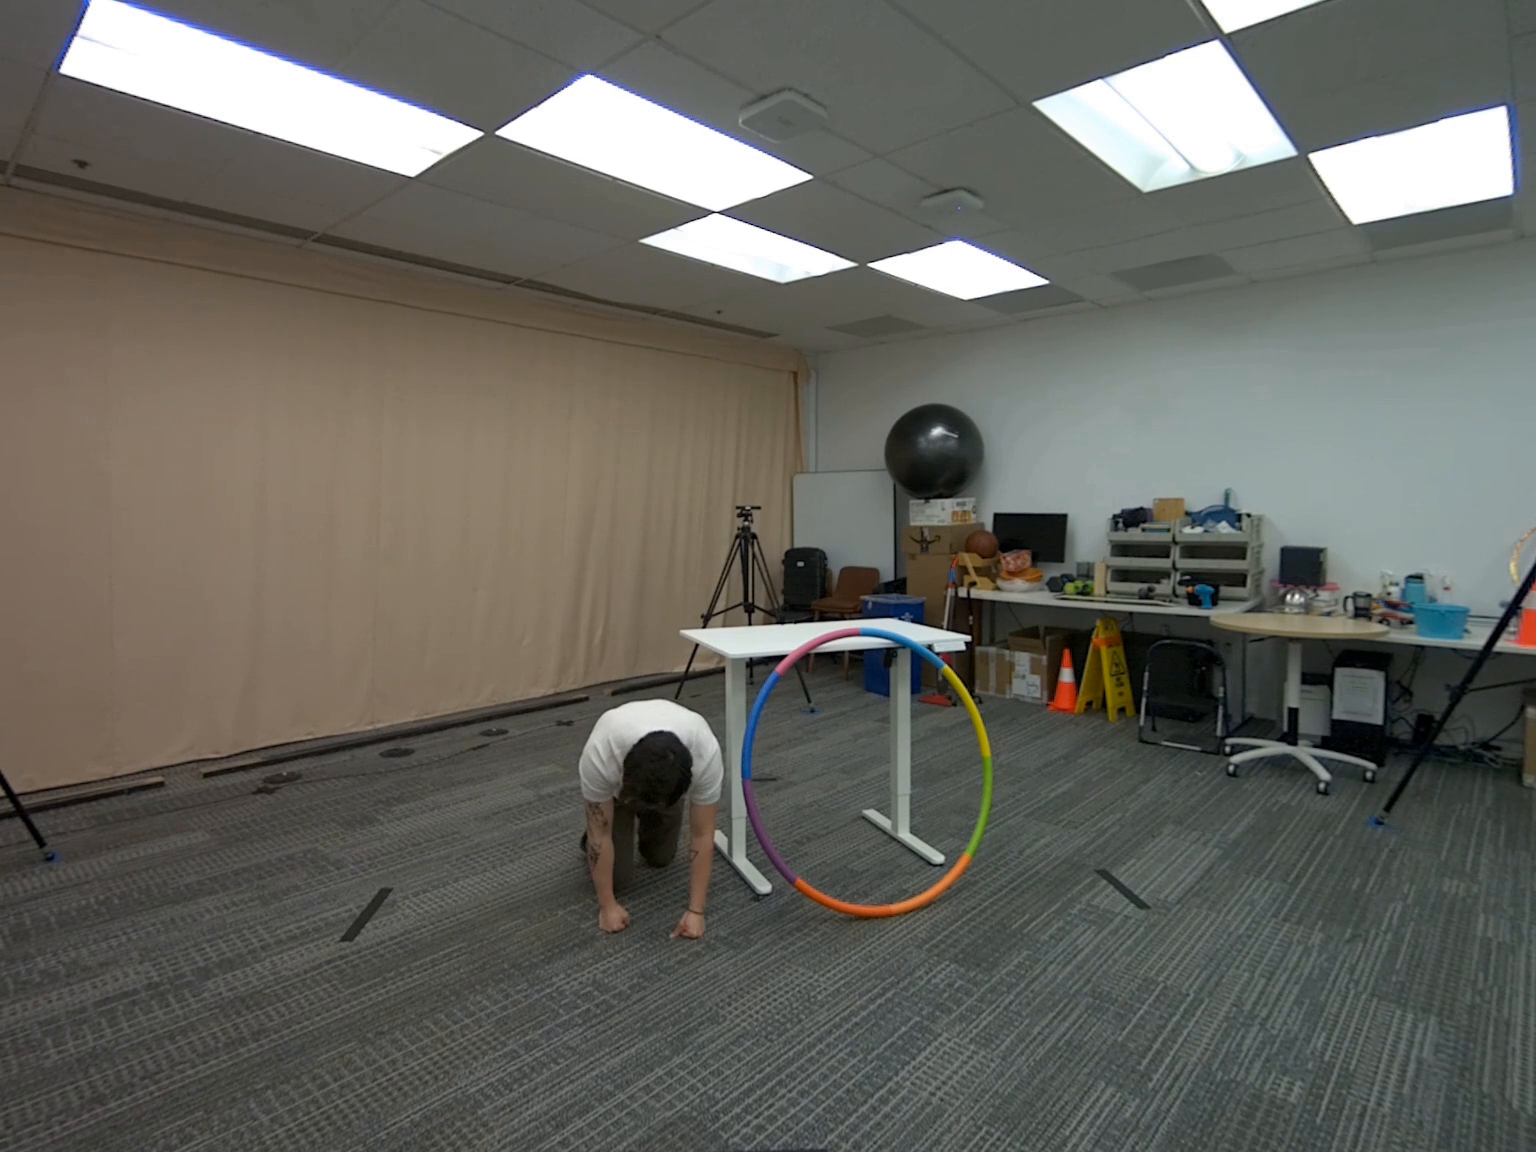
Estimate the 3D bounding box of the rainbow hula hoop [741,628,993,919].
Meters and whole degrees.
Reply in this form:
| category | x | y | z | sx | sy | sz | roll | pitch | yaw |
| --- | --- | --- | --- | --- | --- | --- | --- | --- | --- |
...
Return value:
| category | x | y | z | sx | sy | sz | roll | pitch | yaw |
| --- | --- | --- | --- | --- | --- | --- | --- | --- | --- |
| rainbow hula hoop | 0.387 | 0.679 | 2.960 | 0.959 | 0.988 | 0.036 | -2 | -14 | -20 |
